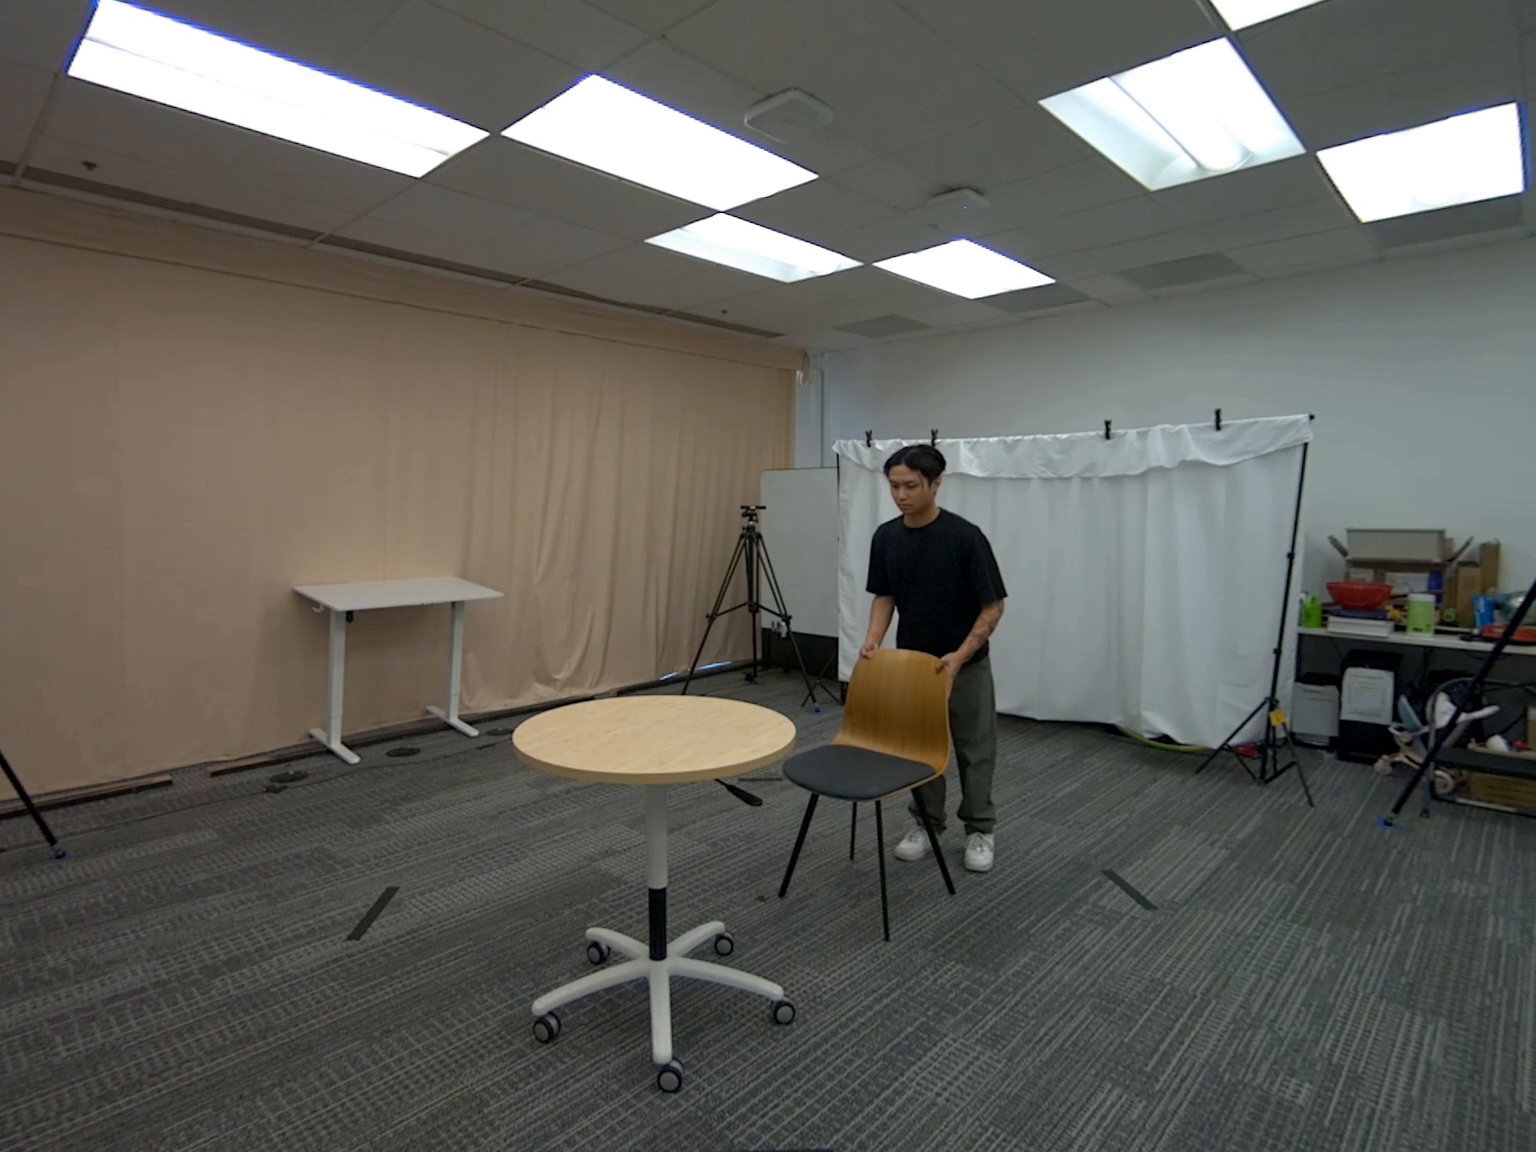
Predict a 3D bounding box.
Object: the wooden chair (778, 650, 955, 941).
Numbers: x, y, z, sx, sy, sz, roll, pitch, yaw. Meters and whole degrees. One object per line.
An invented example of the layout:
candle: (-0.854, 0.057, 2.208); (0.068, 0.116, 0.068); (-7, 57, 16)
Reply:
wooden chair: (0.350, 0.716, 2.965); (0.494, 0.877, 0.506); (3, 0, 42)
